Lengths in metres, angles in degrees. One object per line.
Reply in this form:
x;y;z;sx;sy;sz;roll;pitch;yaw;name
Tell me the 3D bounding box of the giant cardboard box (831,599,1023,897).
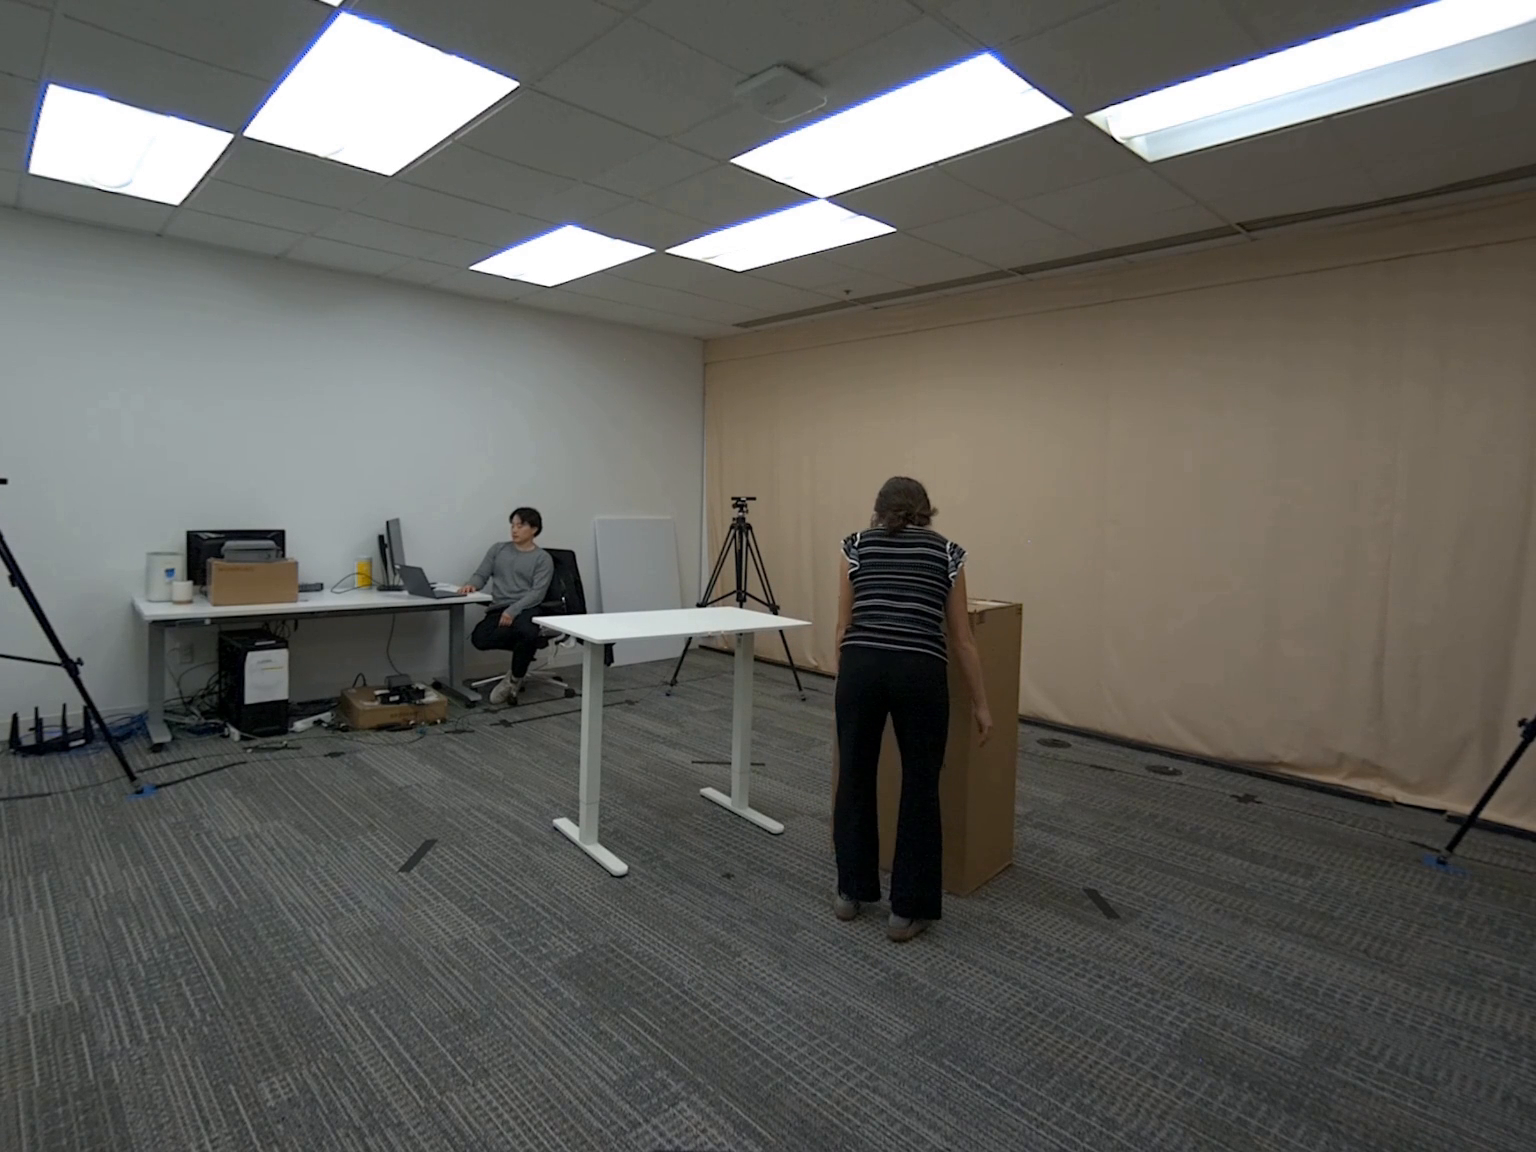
0.614;0.601;3.294;0.592;1.024;0.416;4;4;39;giant cardboard box
